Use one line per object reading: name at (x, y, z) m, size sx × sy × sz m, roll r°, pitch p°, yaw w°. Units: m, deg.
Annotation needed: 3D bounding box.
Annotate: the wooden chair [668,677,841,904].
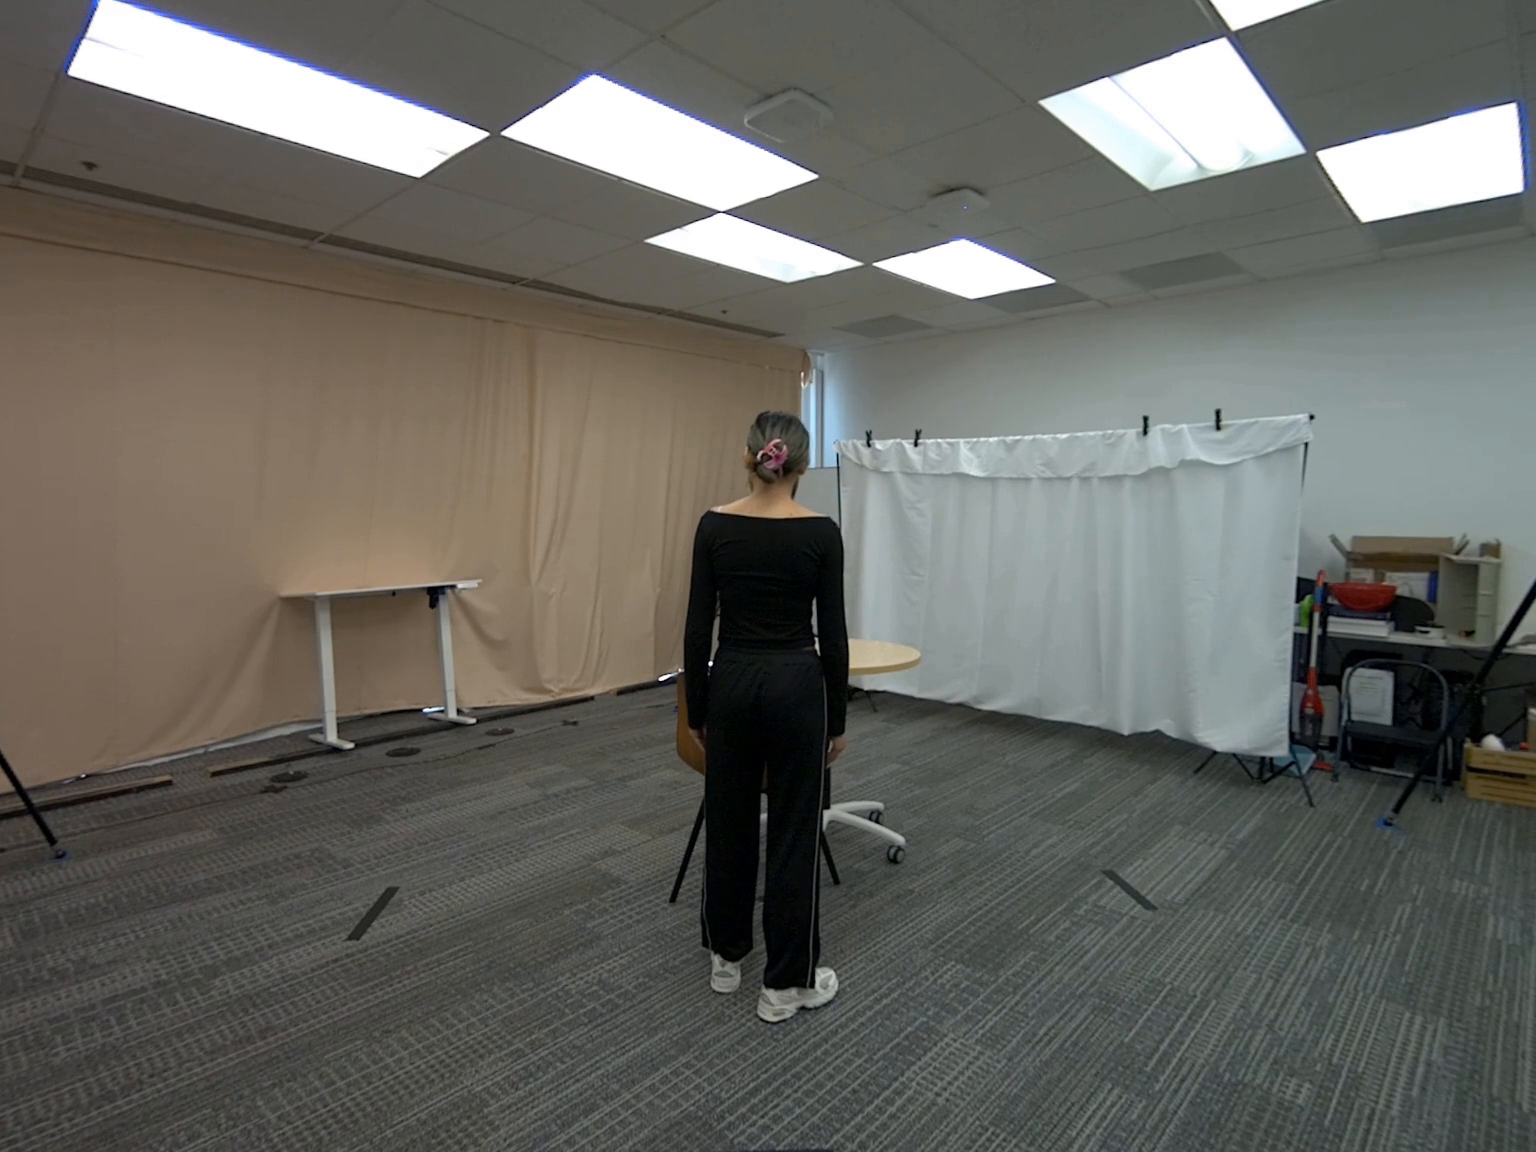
wooden chair at (-0.039, 0.713, 3.002) m, size 0.492 × 0.873 × 0.510 m, roll 2°, pitch 8°, yaw 32°
